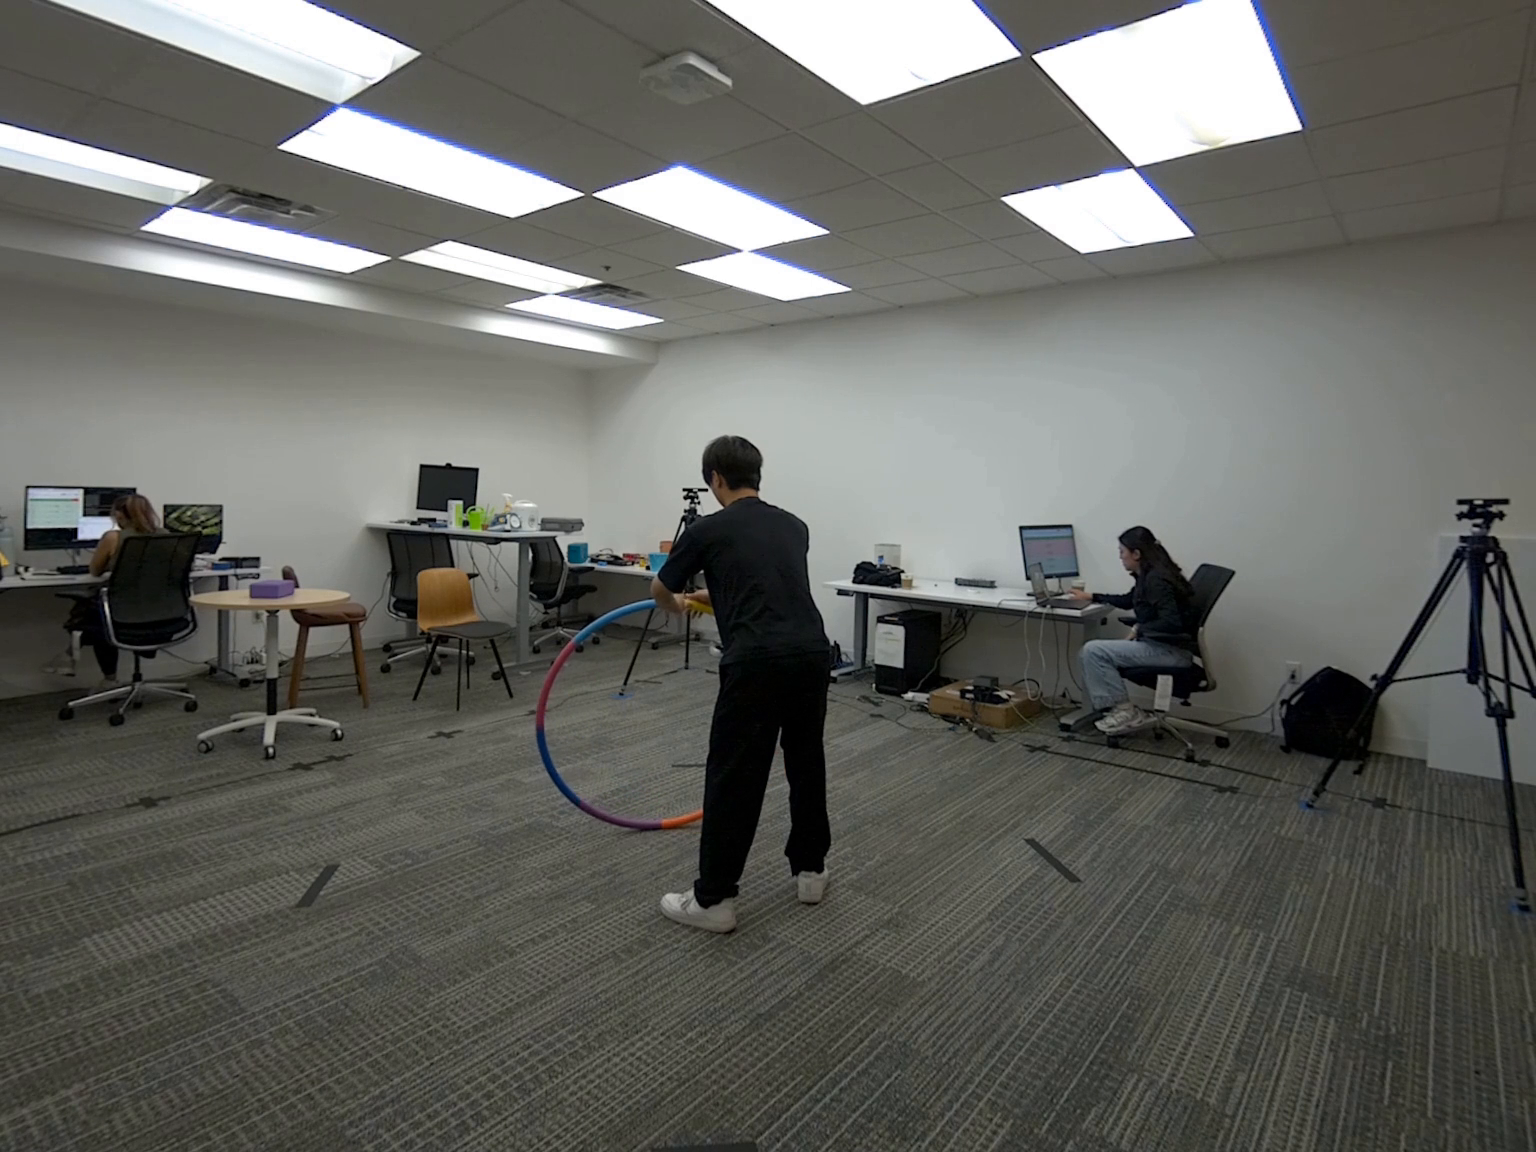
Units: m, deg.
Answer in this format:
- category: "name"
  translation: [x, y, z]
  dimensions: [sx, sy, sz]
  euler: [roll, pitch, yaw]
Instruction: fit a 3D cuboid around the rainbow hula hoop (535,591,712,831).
- category: "rainbow hula hoop"
  translation: [-0.432, 0.563, 3.376]
  dimensions: [0.964, 0.968, 0.036]
  euler: [0, 12, -14]
